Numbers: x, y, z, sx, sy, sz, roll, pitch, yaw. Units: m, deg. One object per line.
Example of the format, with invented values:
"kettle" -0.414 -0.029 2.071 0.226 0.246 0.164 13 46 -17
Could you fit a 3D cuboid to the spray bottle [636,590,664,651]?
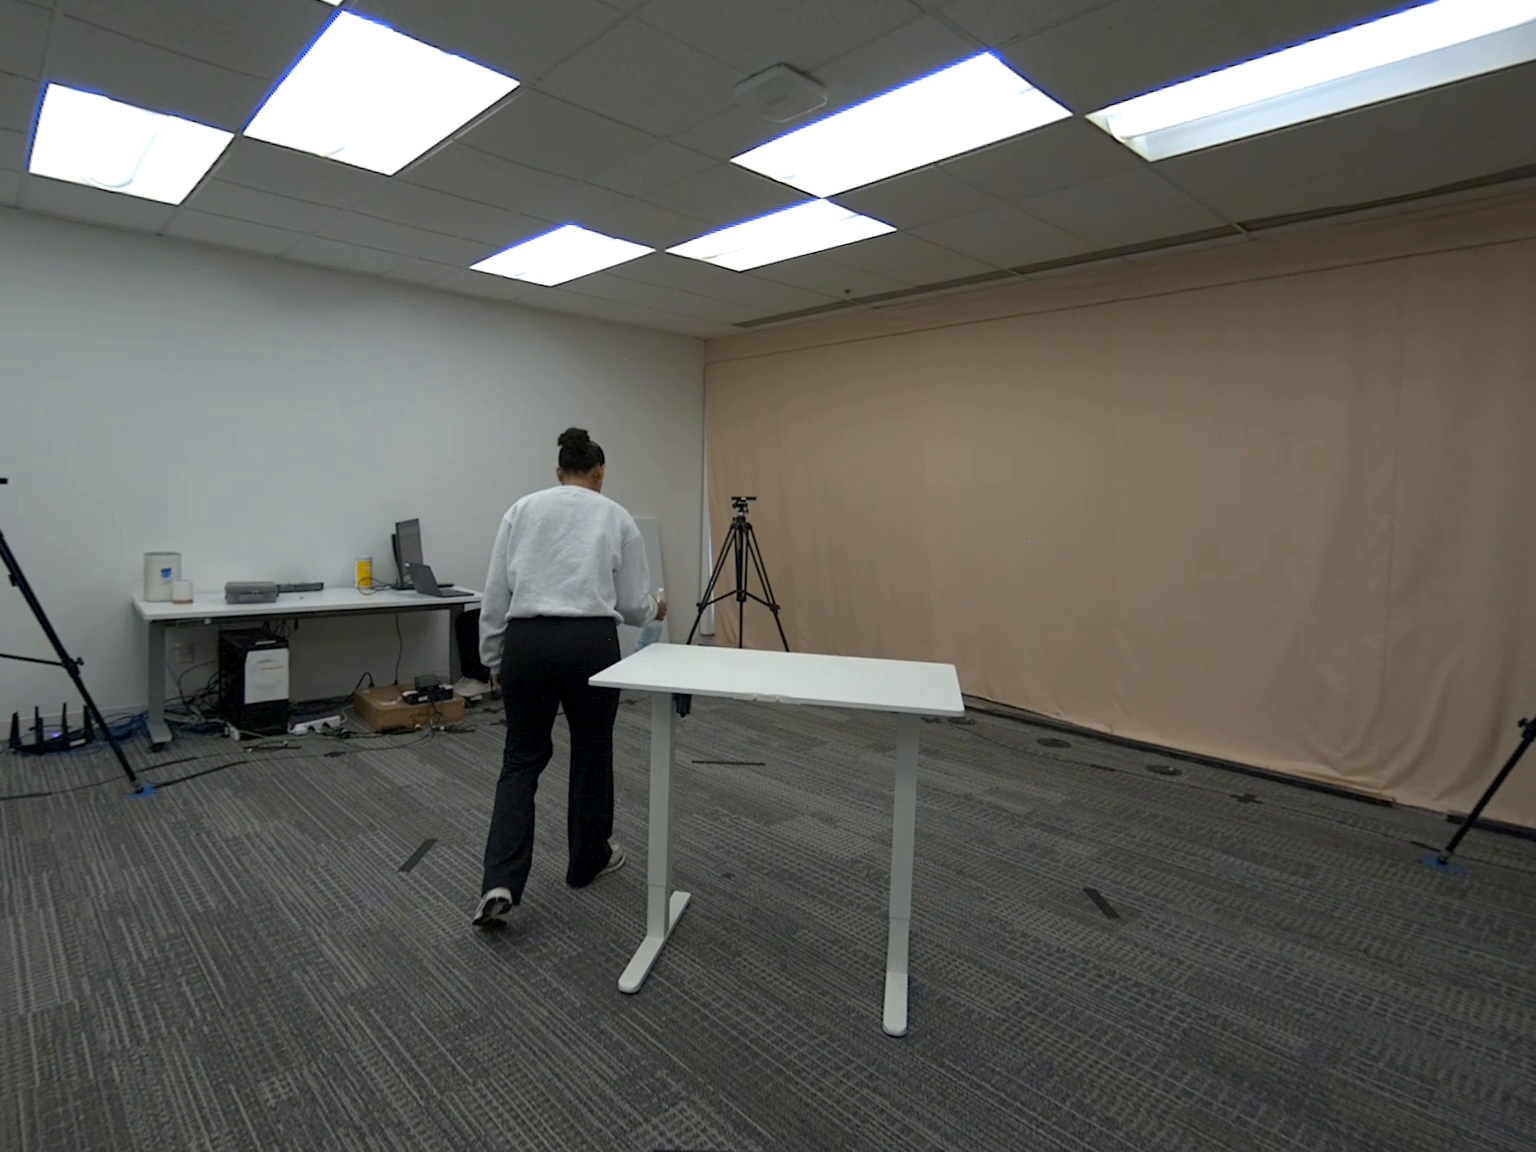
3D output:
"spray bottle" -0.468 0.193 3.292 0.088 0.297 0.088 16 3 18
